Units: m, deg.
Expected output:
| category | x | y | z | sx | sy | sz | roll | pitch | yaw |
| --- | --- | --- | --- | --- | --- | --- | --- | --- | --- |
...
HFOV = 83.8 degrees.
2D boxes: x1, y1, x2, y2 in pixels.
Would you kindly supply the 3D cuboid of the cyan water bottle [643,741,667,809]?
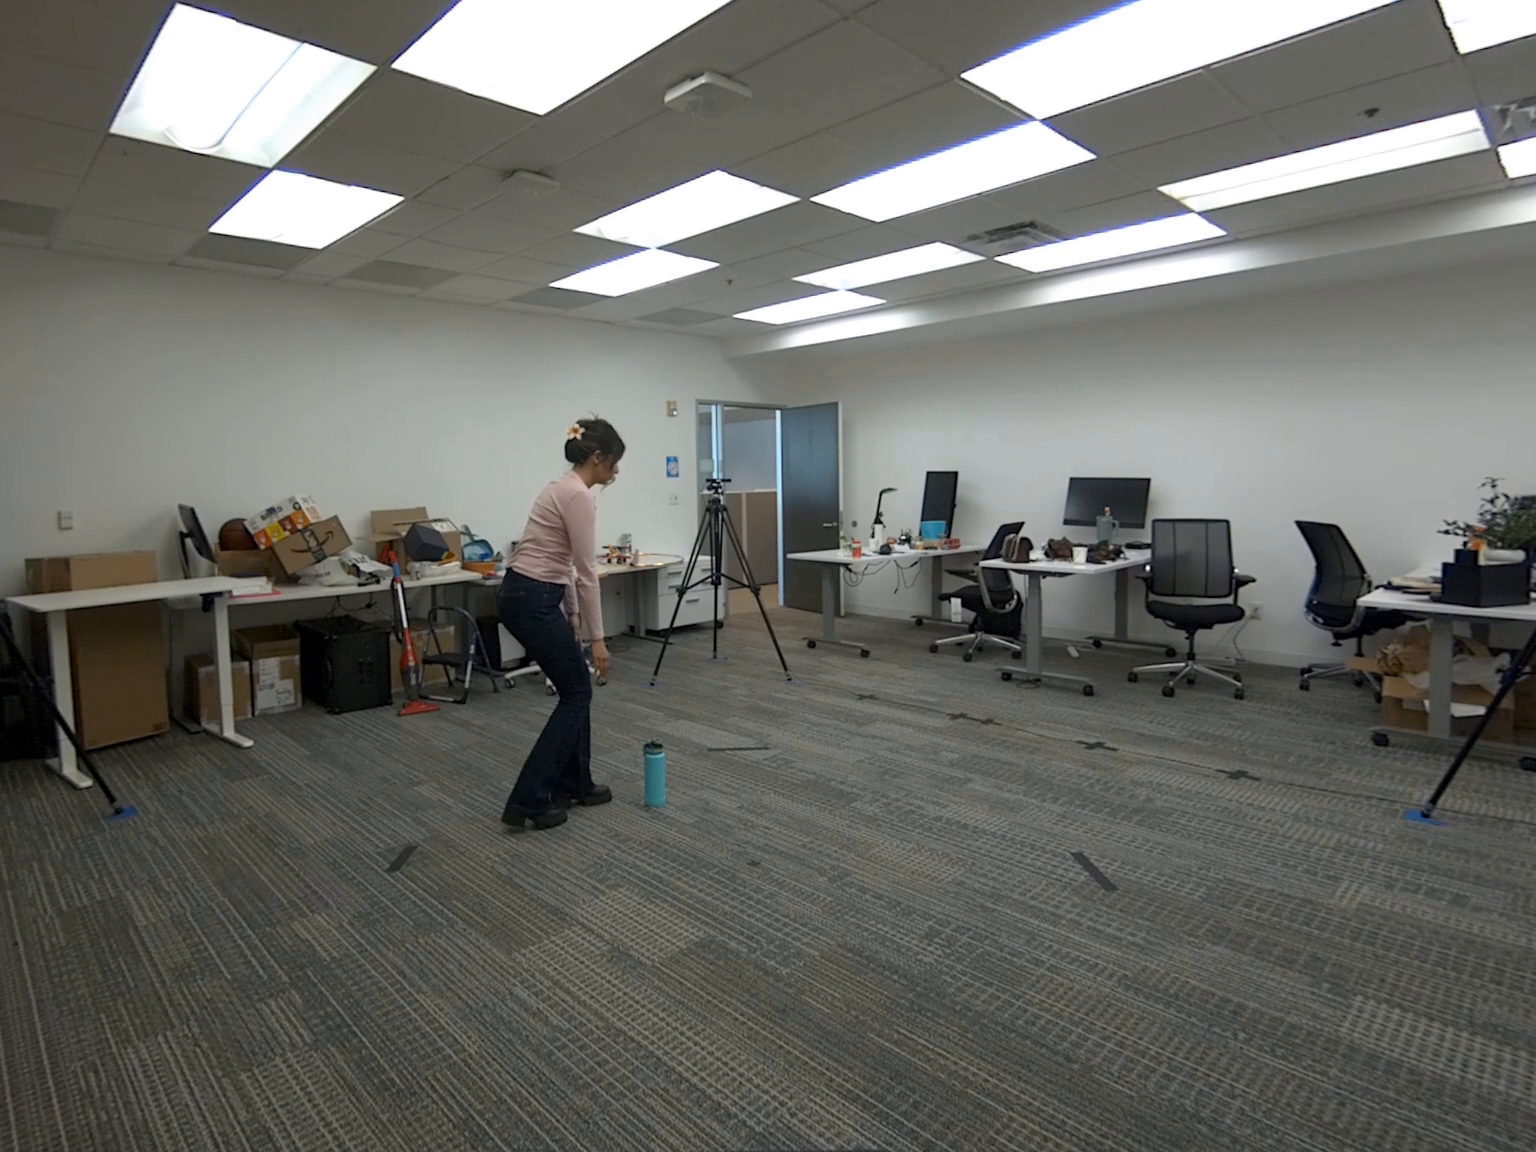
| category | x | y | z | sx | sy | sz | roll | pitch | yaw |
| --- | --- | --- | --- | --- | --- | --- | --- | --- | --- |
| cyan water bottle | -0.493 | 0.843 | 3.690 | 0.092 | 0.283 | 0.092 | -3 | 3 | -1 |
